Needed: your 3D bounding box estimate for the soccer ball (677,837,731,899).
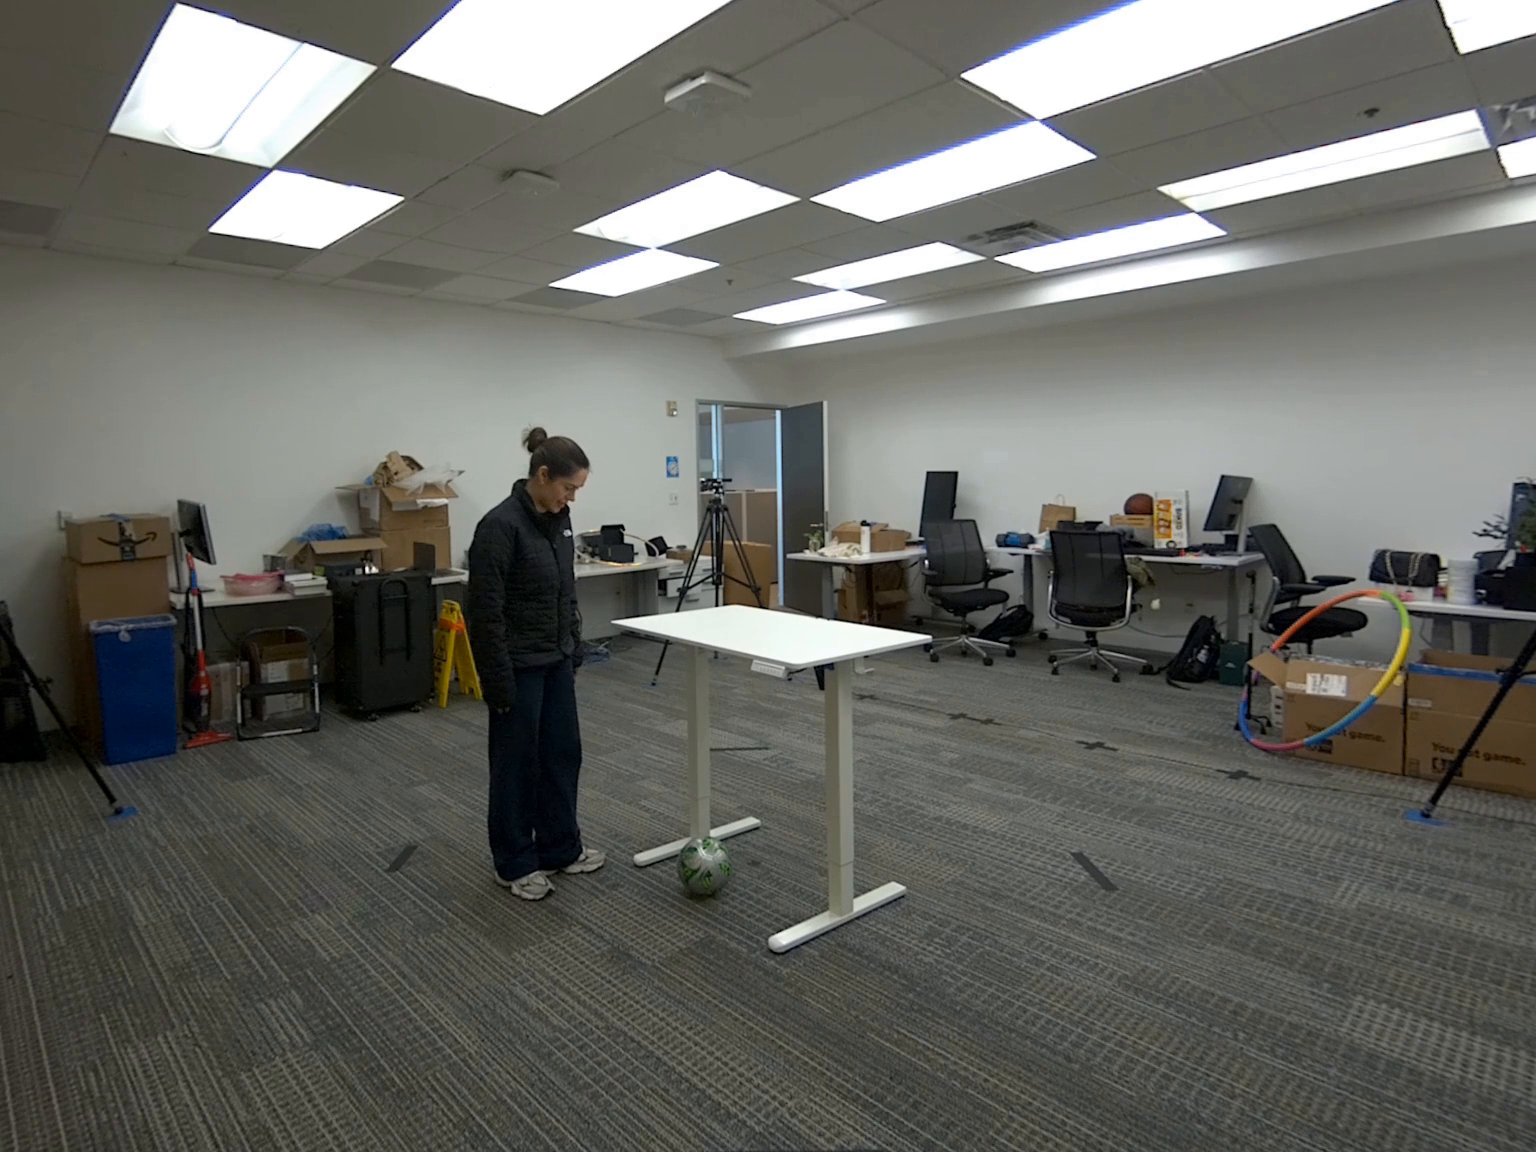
[{"bbox_3d":[-0.216,0.970,2.892,0.187,0.187,0.188,-1,5,-2],"label":"soccer ball"}]
